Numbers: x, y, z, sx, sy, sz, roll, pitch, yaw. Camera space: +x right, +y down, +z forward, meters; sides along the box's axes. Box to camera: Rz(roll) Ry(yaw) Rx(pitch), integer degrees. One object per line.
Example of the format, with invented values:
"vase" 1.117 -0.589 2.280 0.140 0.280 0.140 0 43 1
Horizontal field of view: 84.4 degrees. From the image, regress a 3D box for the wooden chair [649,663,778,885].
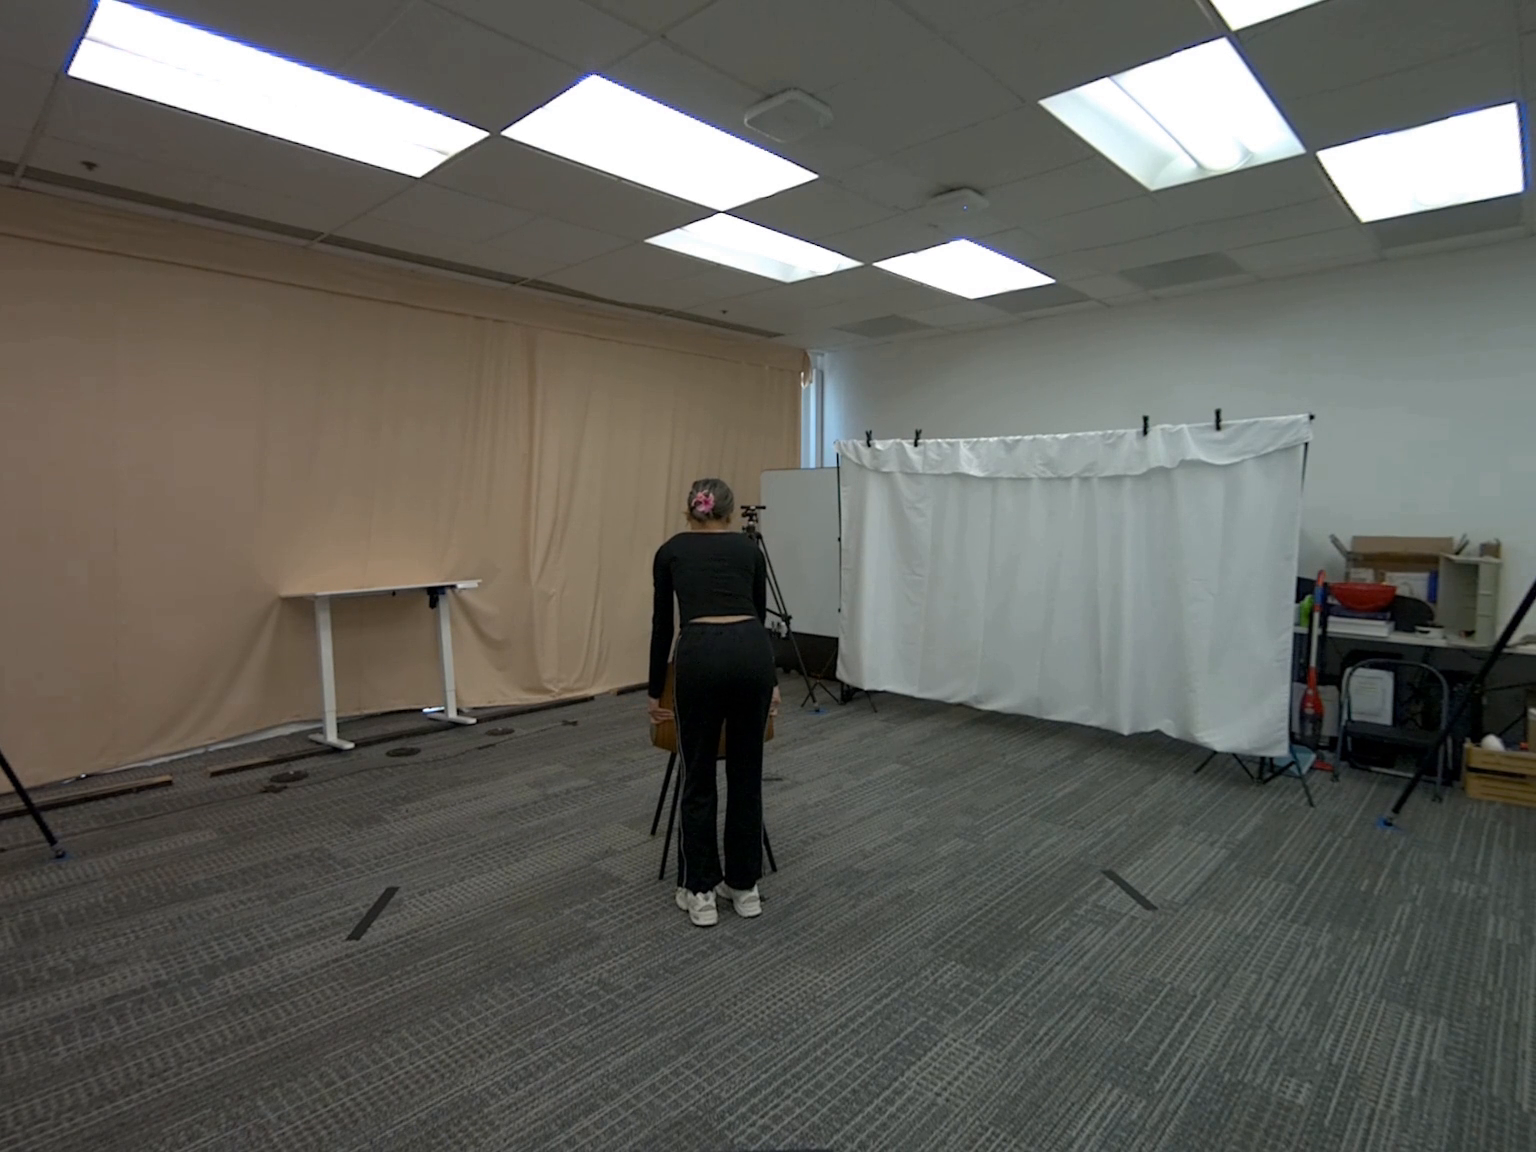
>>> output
"wooden chair" -0.238 0.682 3.368 0.474 0.873 0.530 -2 7 -10
